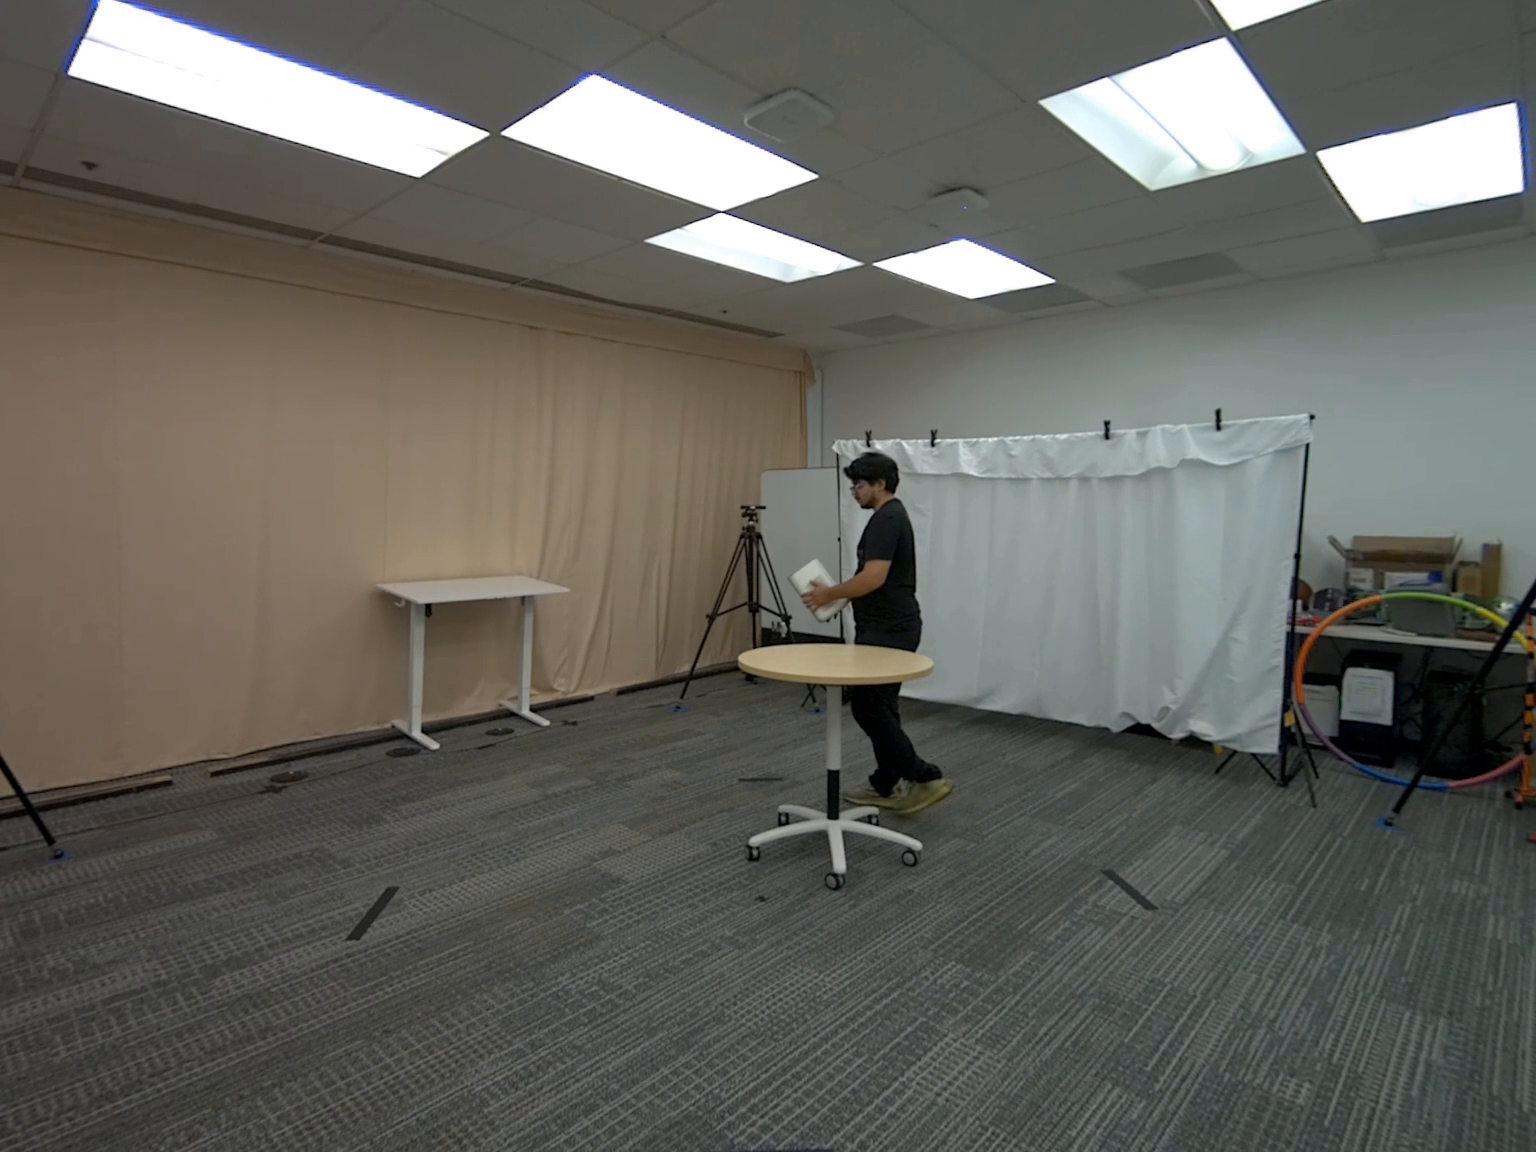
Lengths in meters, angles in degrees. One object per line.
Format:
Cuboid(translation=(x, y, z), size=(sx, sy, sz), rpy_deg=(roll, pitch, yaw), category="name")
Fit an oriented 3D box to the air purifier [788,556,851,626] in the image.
Cuboid(translation=(0.247, 0.070, 3.953), size=(0.174, 0.265, 0.166), rpy_deg=(-36, -8, 2), category="air purifier")
